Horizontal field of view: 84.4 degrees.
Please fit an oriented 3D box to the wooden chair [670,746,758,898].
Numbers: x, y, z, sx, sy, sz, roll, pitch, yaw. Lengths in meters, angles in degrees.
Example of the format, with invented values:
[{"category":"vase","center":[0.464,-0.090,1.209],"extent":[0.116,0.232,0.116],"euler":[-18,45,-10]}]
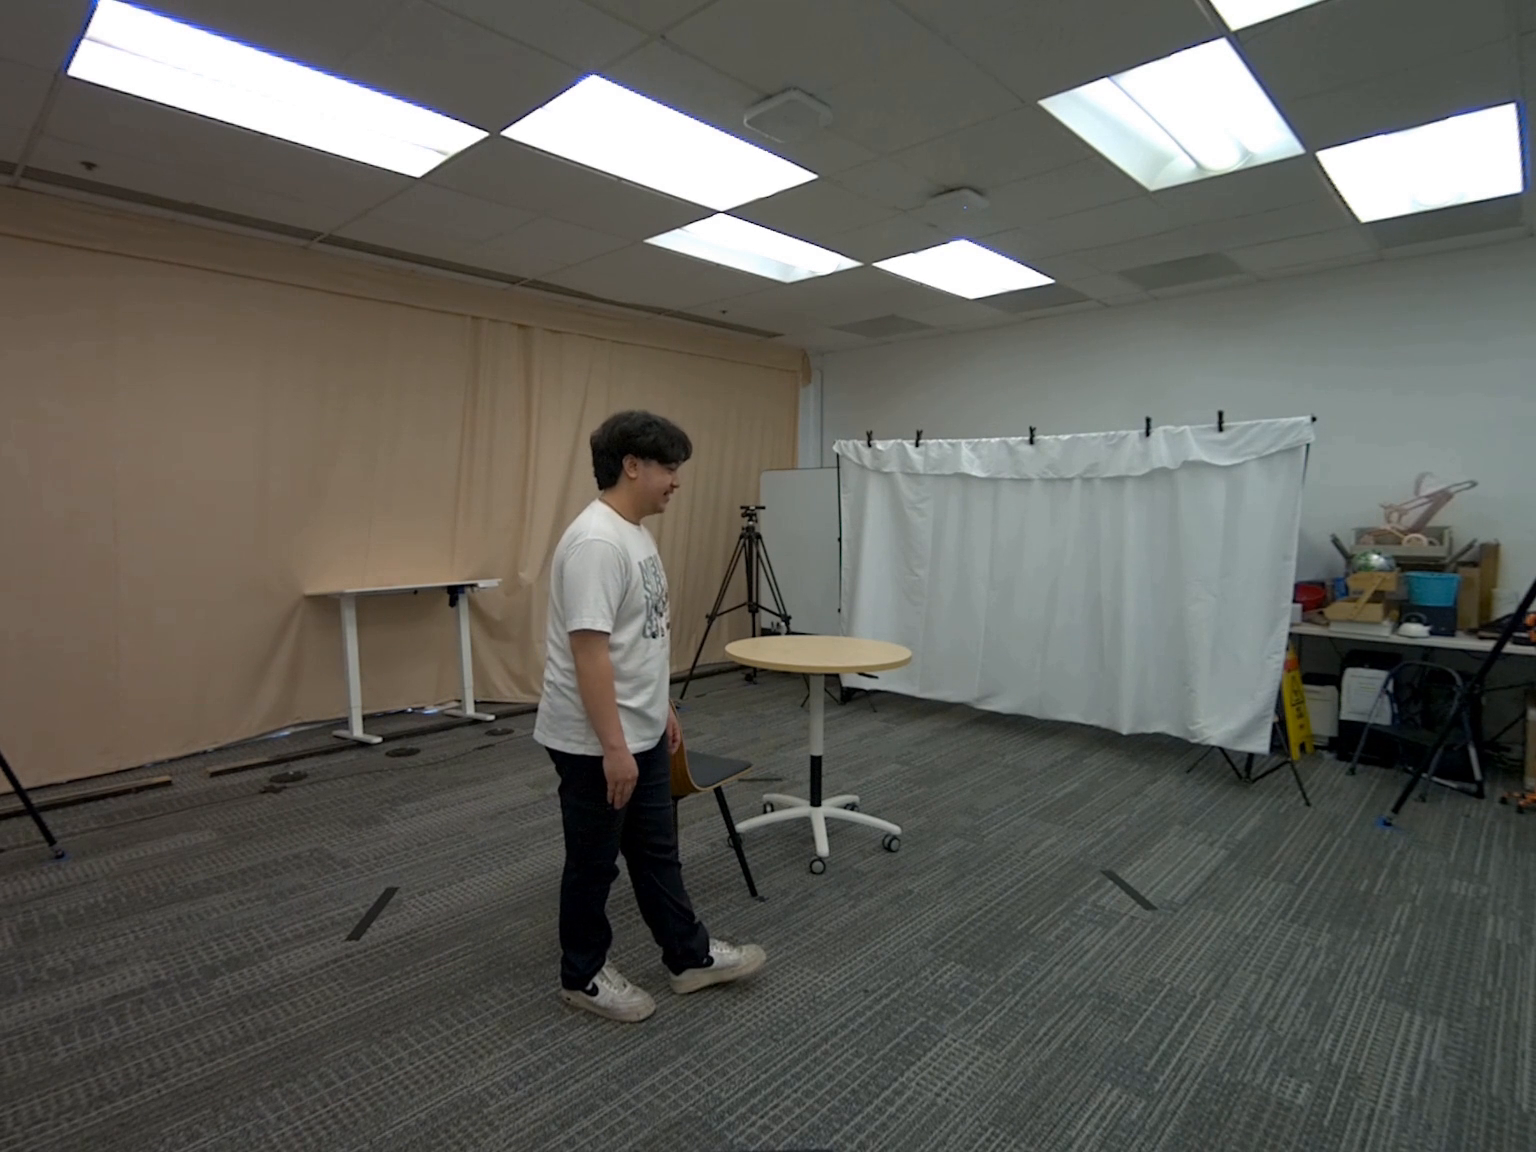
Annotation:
[{"category":"wooden chair","center":[-0.346,0.722,2.927],"extent":[0.493,0.873,0.509],"euler":[1,8,35]}]
